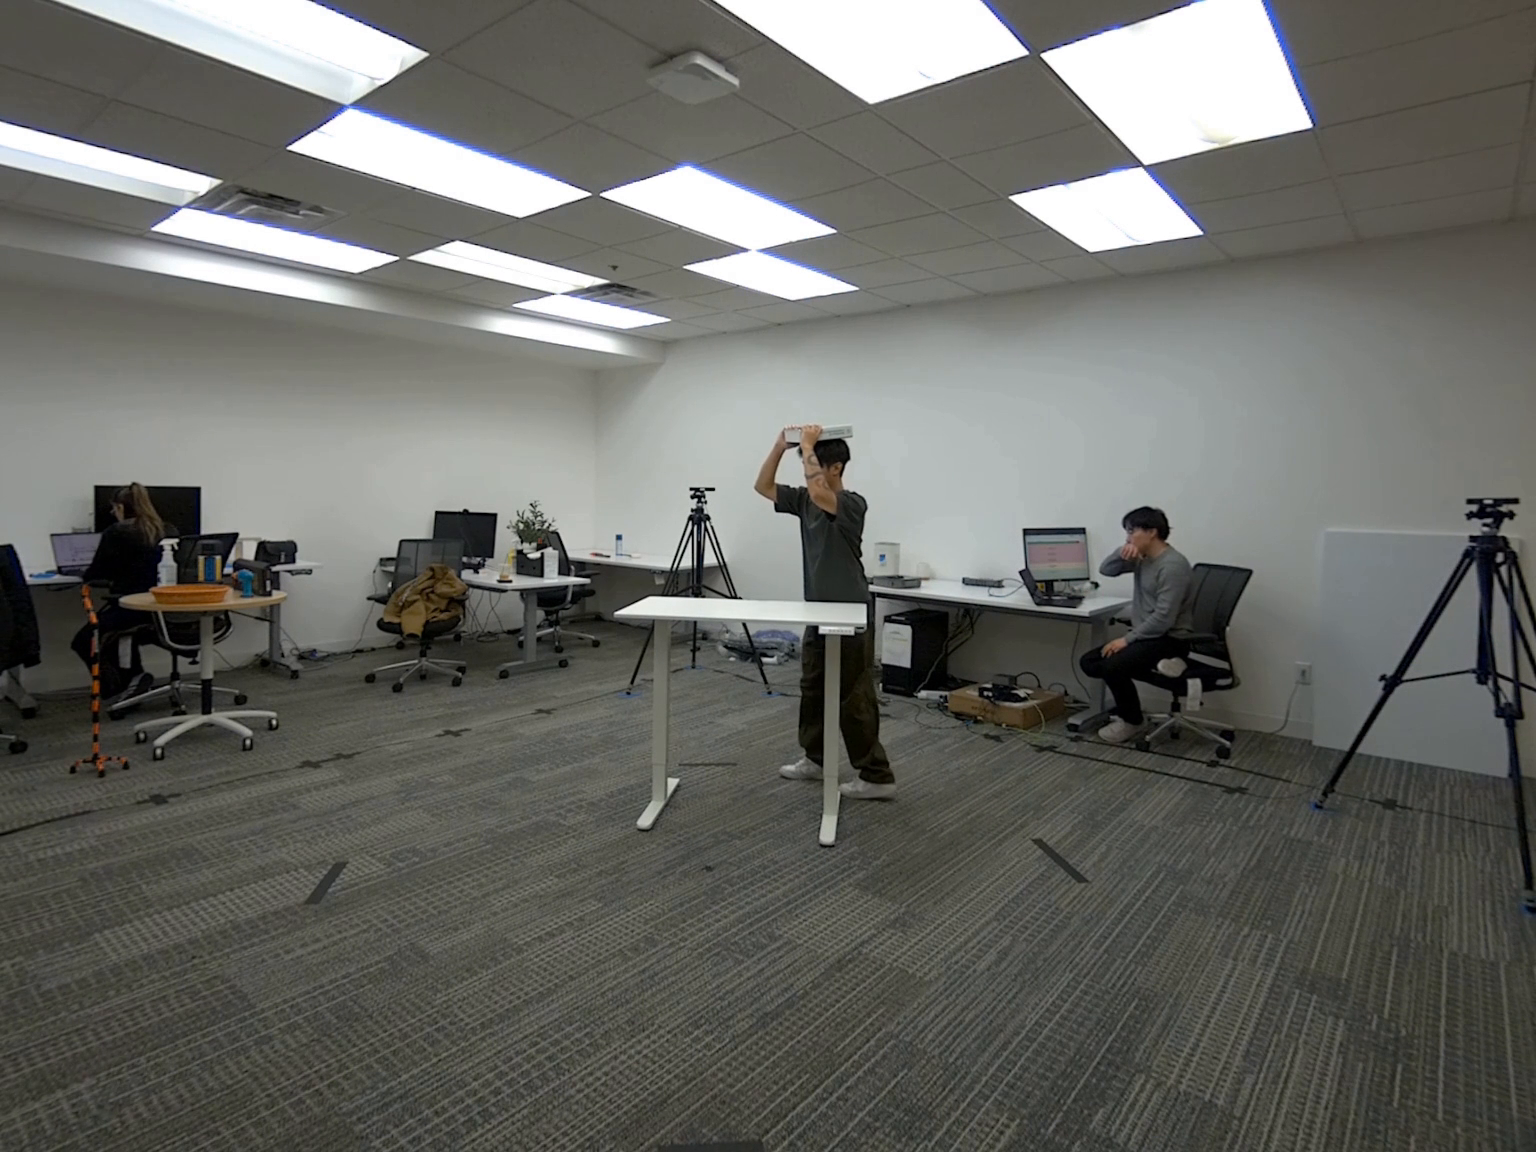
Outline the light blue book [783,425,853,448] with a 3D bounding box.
[{"bbox_3d":[0.217,-0.659,3.893,0.257,0.058,0.196,-9,12,-17],"label":"light blue book"}]
